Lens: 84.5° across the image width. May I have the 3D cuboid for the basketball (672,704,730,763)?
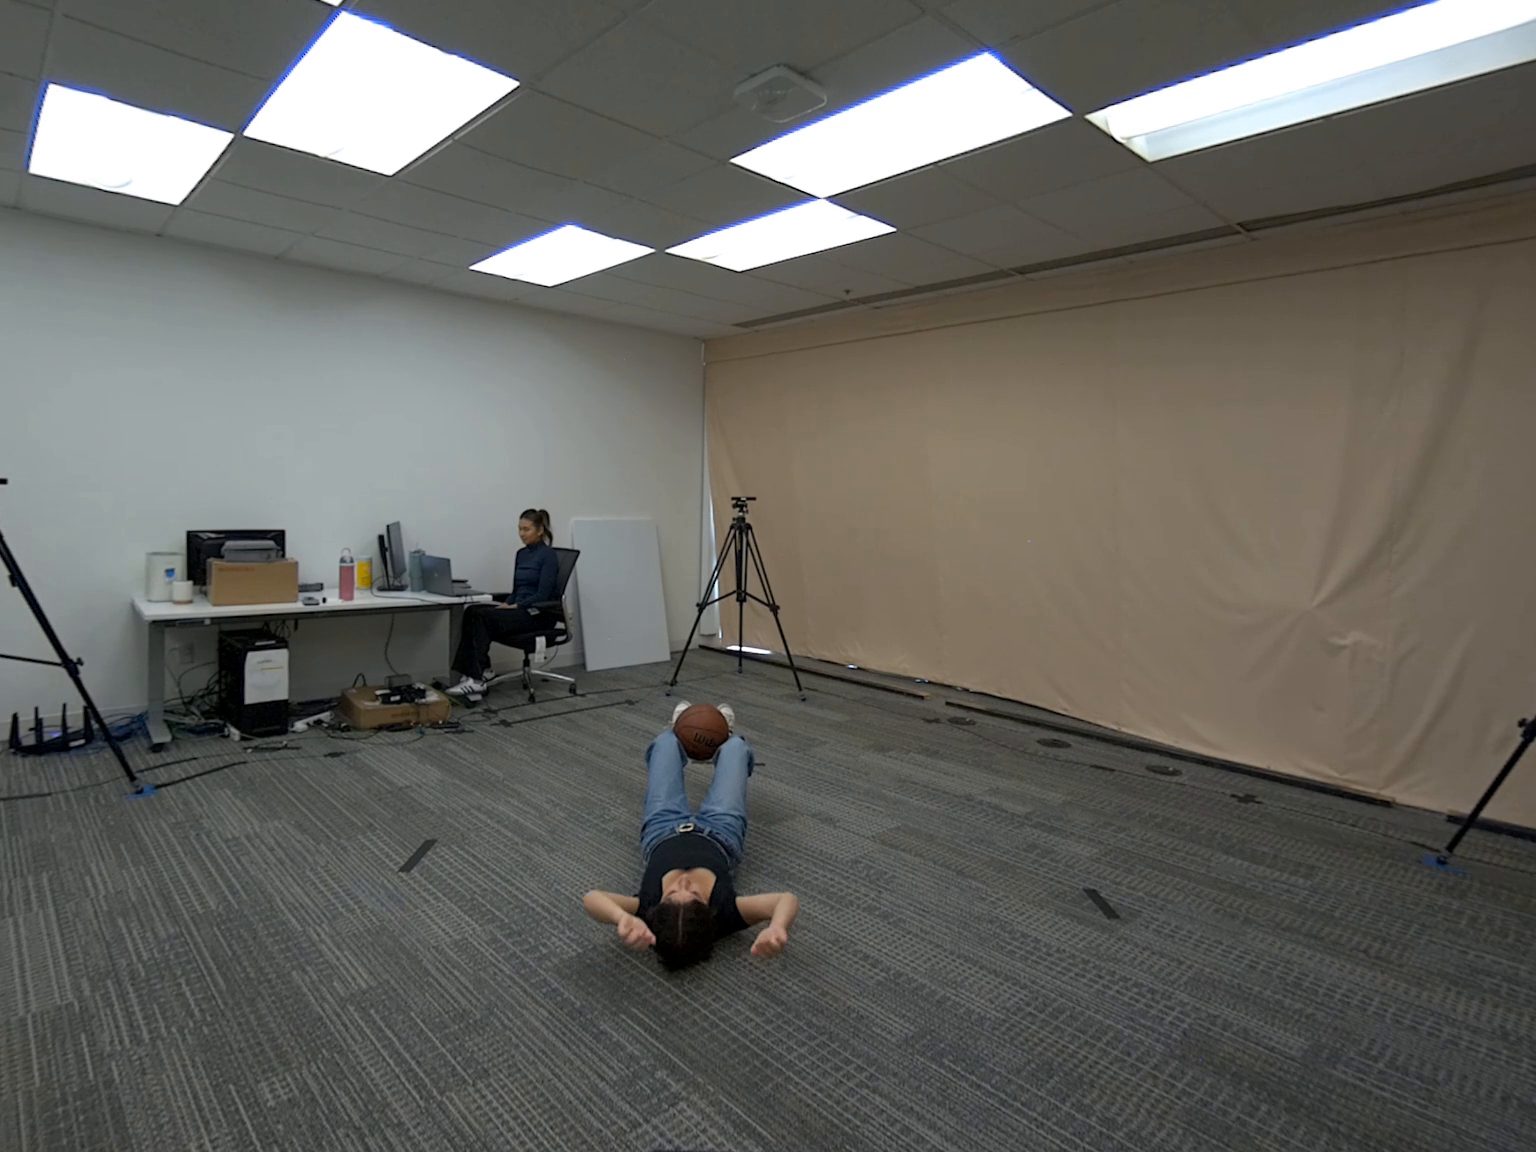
[{"bbox_3d":[-0.291,0.662,3.589,0.236,0.235,0.237,1,4,-1],"label":"basketball"}]
